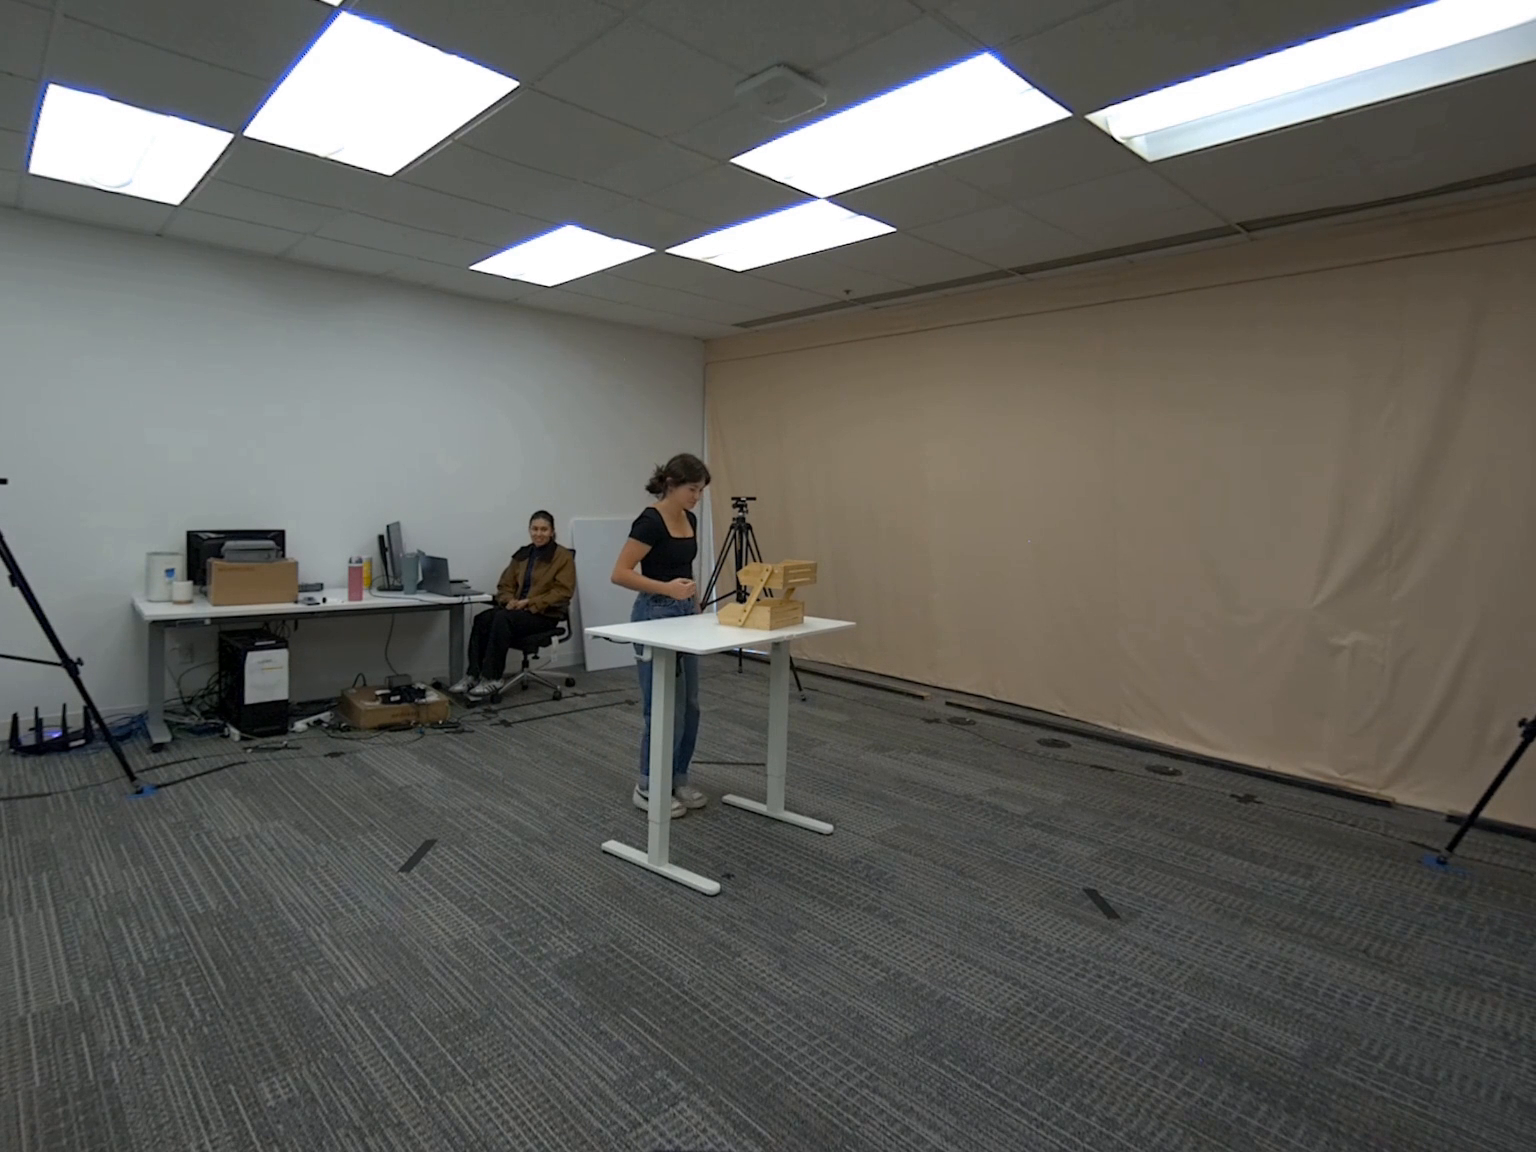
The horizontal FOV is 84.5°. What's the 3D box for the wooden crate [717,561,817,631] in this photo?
[{"bbox_3d":[-0.015,0.066,3.457,0.309,0.272,0.318,5,5,29],"label":"wooden crate"}]
